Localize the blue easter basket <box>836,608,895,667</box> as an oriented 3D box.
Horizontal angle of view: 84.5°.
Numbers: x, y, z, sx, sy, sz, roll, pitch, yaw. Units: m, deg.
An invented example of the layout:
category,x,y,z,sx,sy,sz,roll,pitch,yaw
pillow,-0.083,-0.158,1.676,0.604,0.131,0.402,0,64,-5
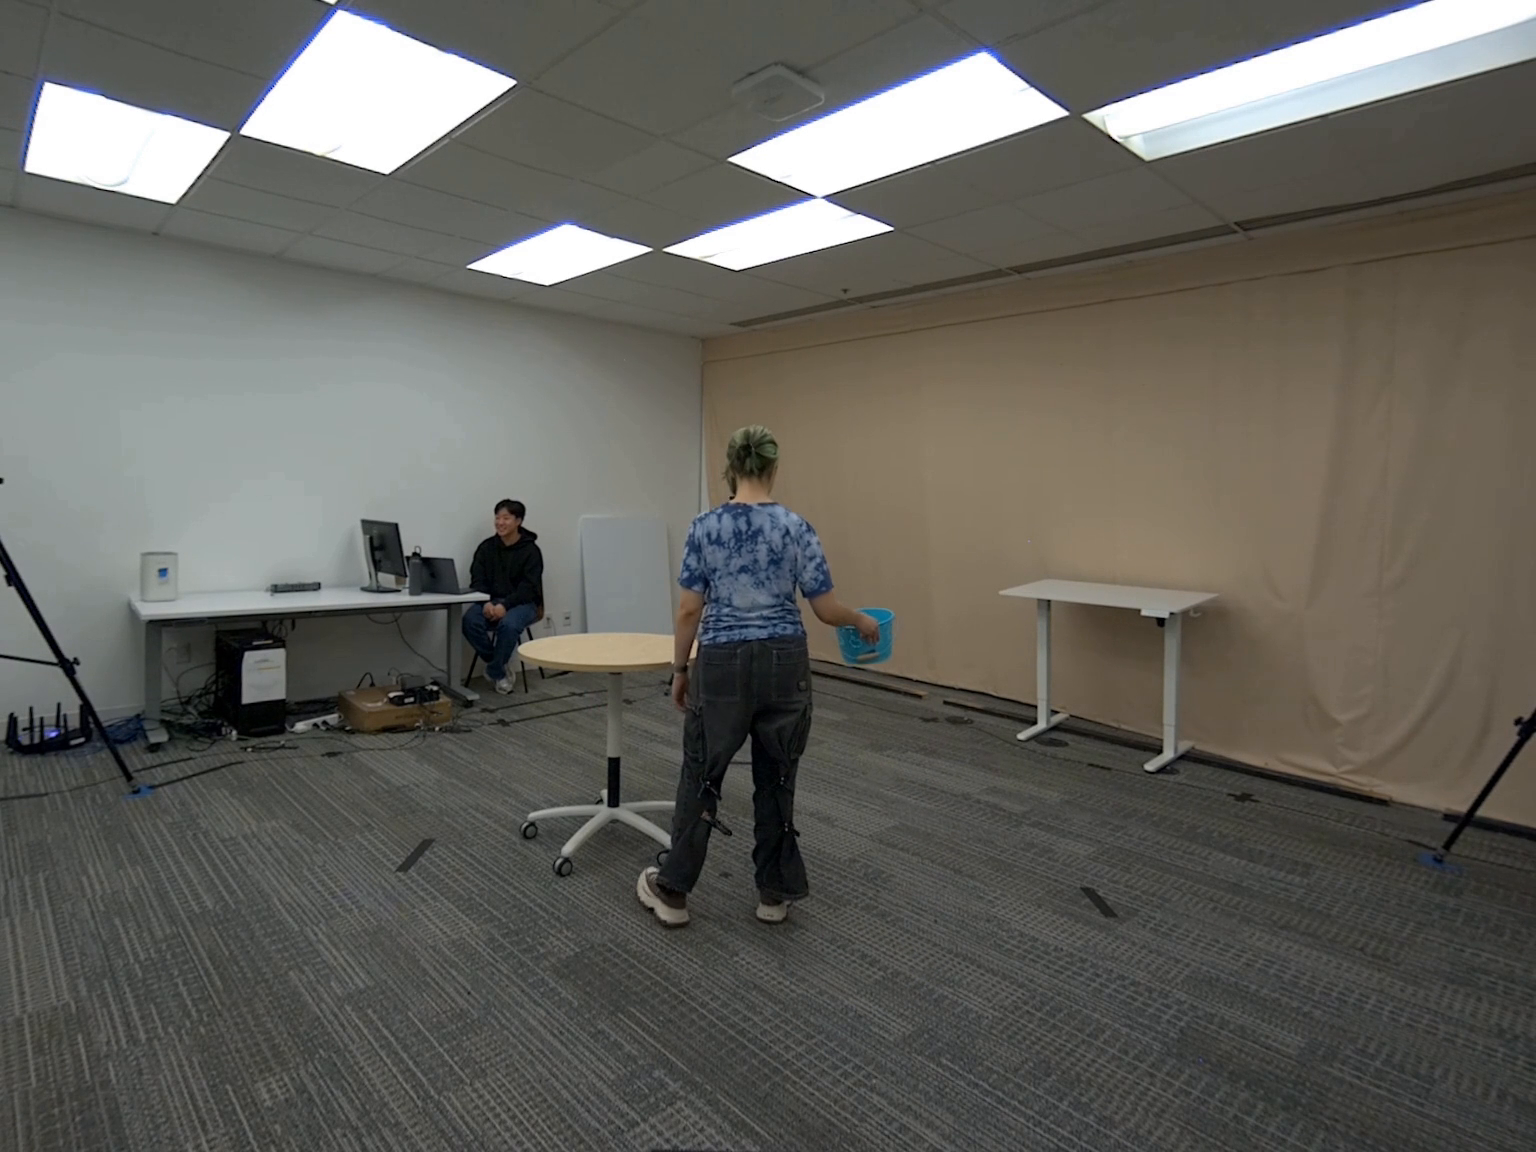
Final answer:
category,x,y,z,sx,sy,sz,roll,pitch,yaw
blue easter basket,0.345,0.226,3.118,0.244,0.154,0.246,-8,12,0
